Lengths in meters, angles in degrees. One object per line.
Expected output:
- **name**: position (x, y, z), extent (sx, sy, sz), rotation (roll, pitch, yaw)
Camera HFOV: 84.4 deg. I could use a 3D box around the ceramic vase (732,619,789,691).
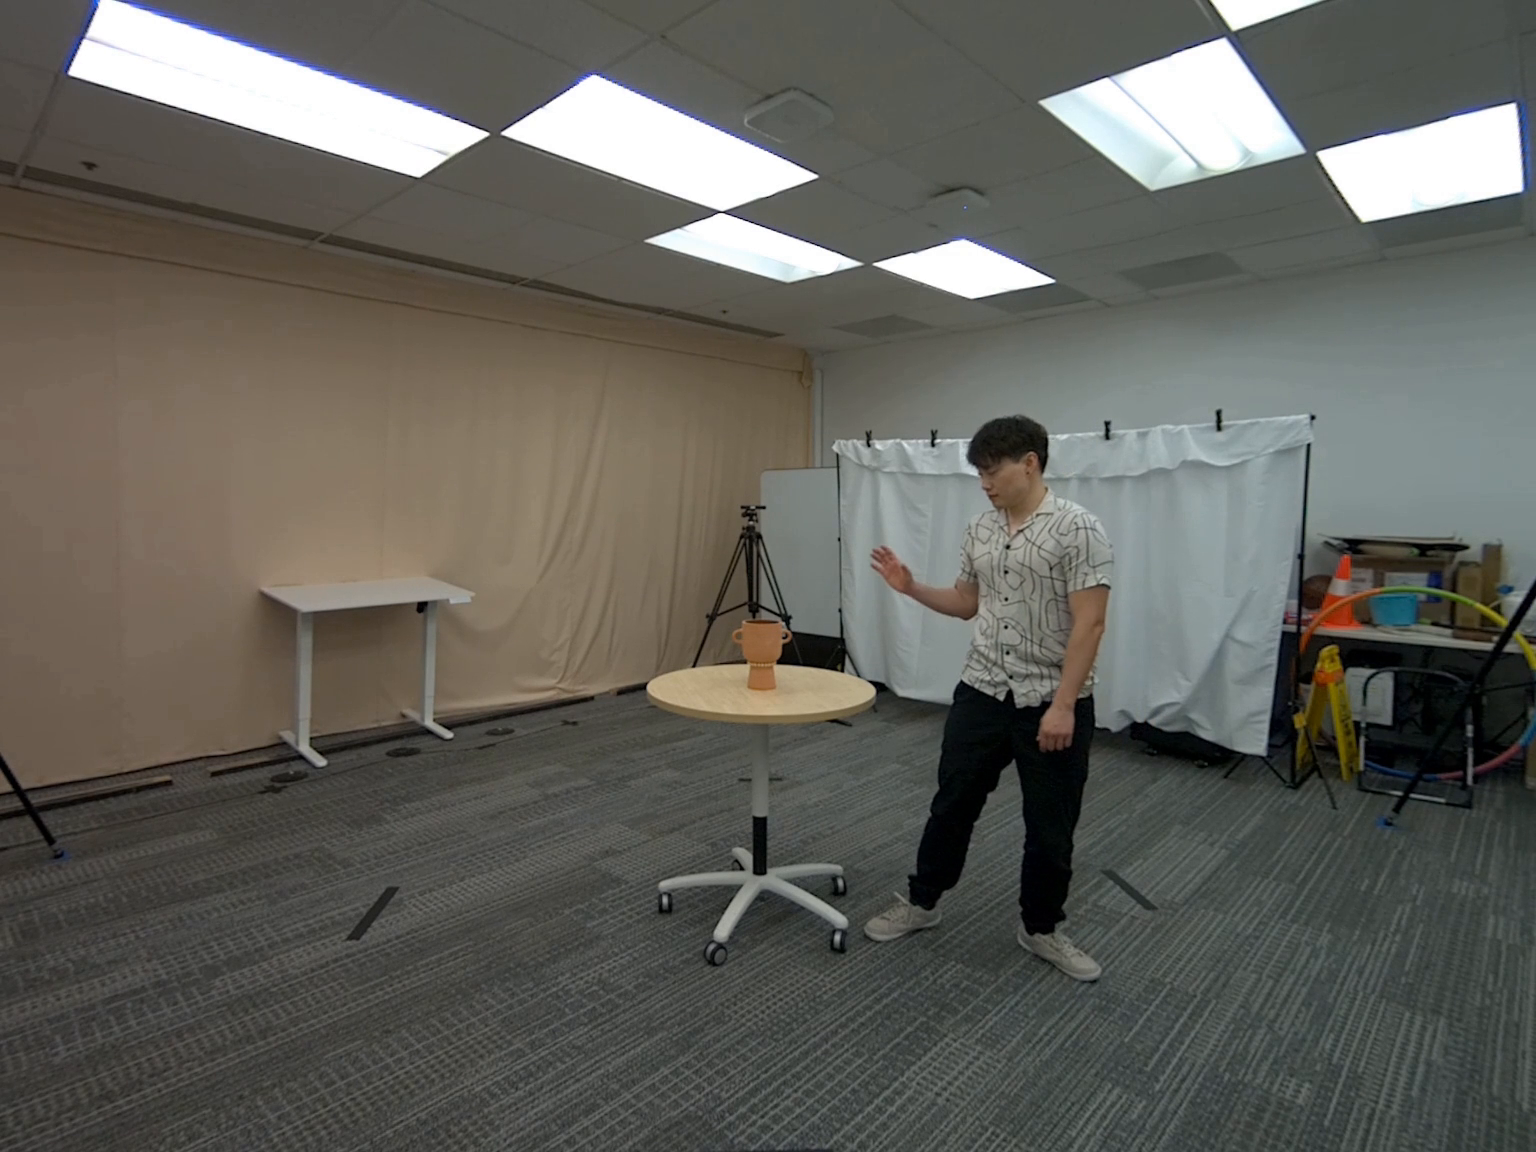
- **ceramic vase**: position (-0.017, 0.265, 2.818), extent (0.164, 0.219, 0.131), rotation (3, 4, 34)
